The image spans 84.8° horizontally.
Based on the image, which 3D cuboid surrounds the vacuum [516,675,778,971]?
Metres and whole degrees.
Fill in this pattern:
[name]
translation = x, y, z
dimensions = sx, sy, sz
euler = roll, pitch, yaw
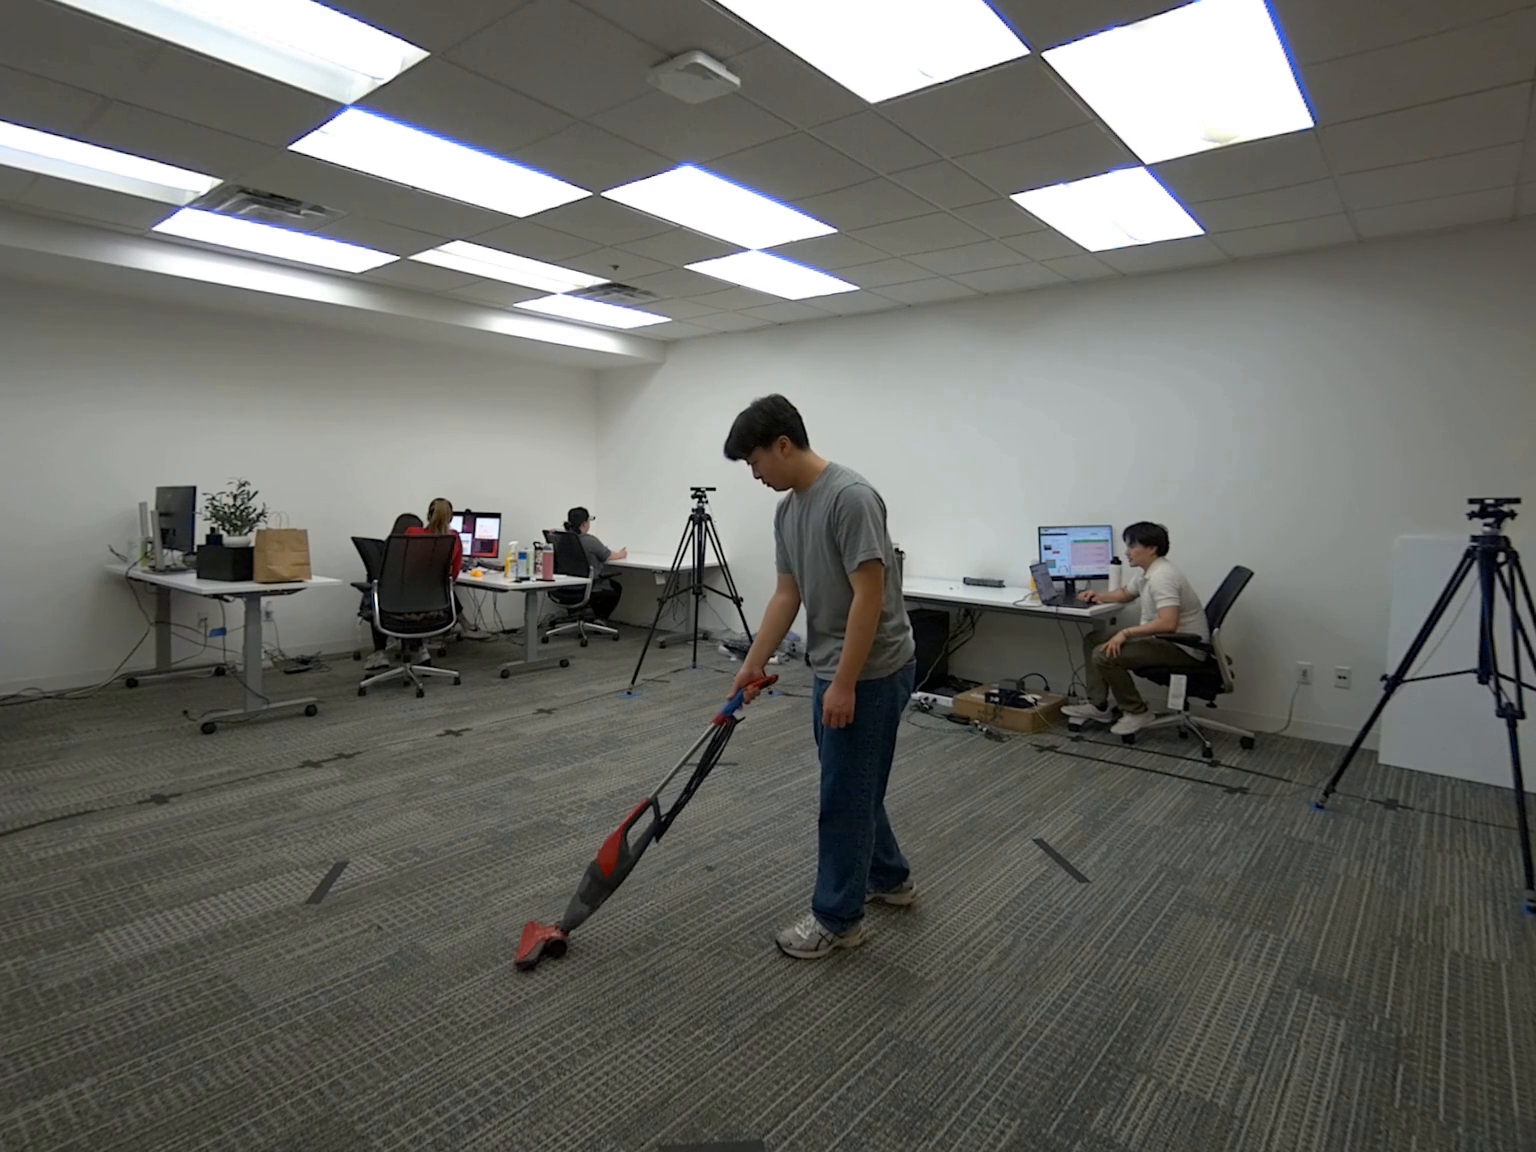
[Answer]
[vacuum]
translation = -0.332, 0.707, 2.597
dimensions = 0.142, 1.049, 0.255
euler = 42, -7, -9
